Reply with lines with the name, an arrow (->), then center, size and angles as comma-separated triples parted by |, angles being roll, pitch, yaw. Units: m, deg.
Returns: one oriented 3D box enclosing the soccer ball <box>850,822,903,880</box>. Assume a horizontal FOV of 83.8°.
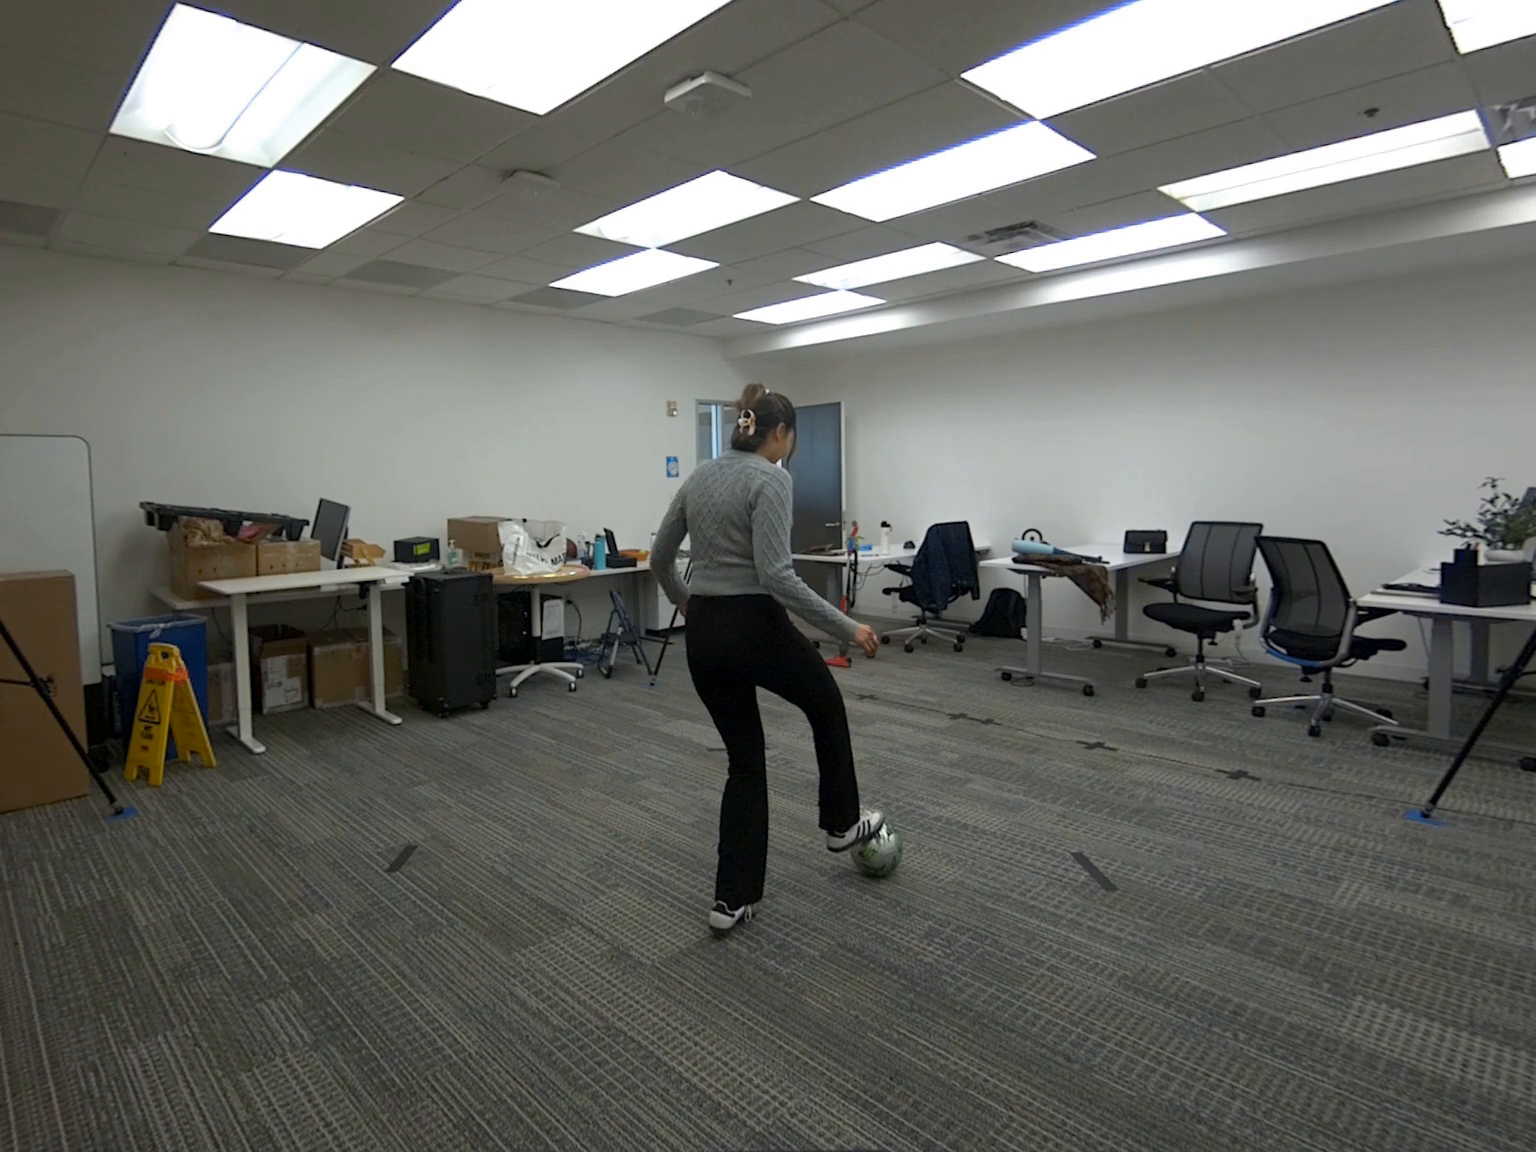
soccer ball -> 0.390, 0.957, 3.006 | 0.187, 0.187, 0.188 | -1, 5, -2
